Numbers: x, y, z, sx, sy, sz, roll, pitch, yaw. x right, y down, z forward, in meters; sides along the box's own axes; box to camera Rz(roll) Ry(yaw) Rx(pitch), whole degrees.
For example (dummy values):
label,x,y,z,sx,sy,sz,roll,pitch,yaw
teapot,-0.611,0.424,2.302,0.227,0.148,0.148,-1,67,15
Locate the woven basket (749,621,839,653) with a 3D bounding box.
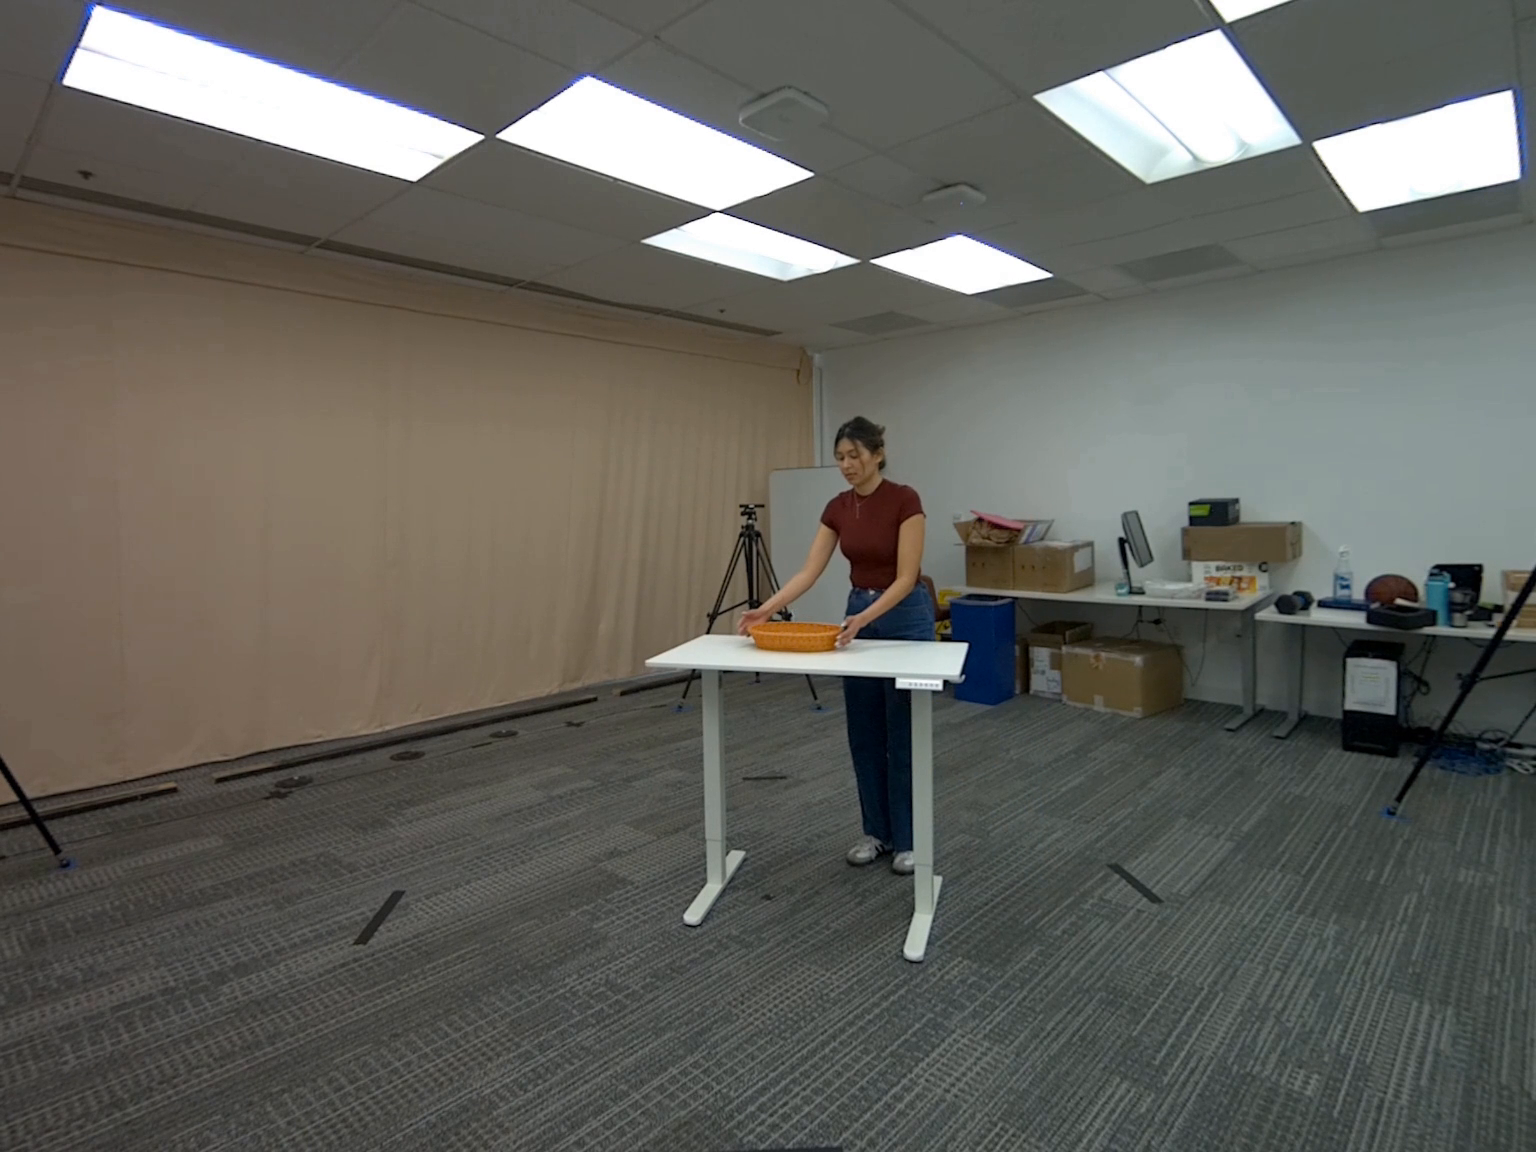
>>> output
label,x,y,z,sx,sy,sz,roll,pitch,yaw
woven basket,0.106,0.223,2.996,0.359,0.073,0.247,1,7,26
